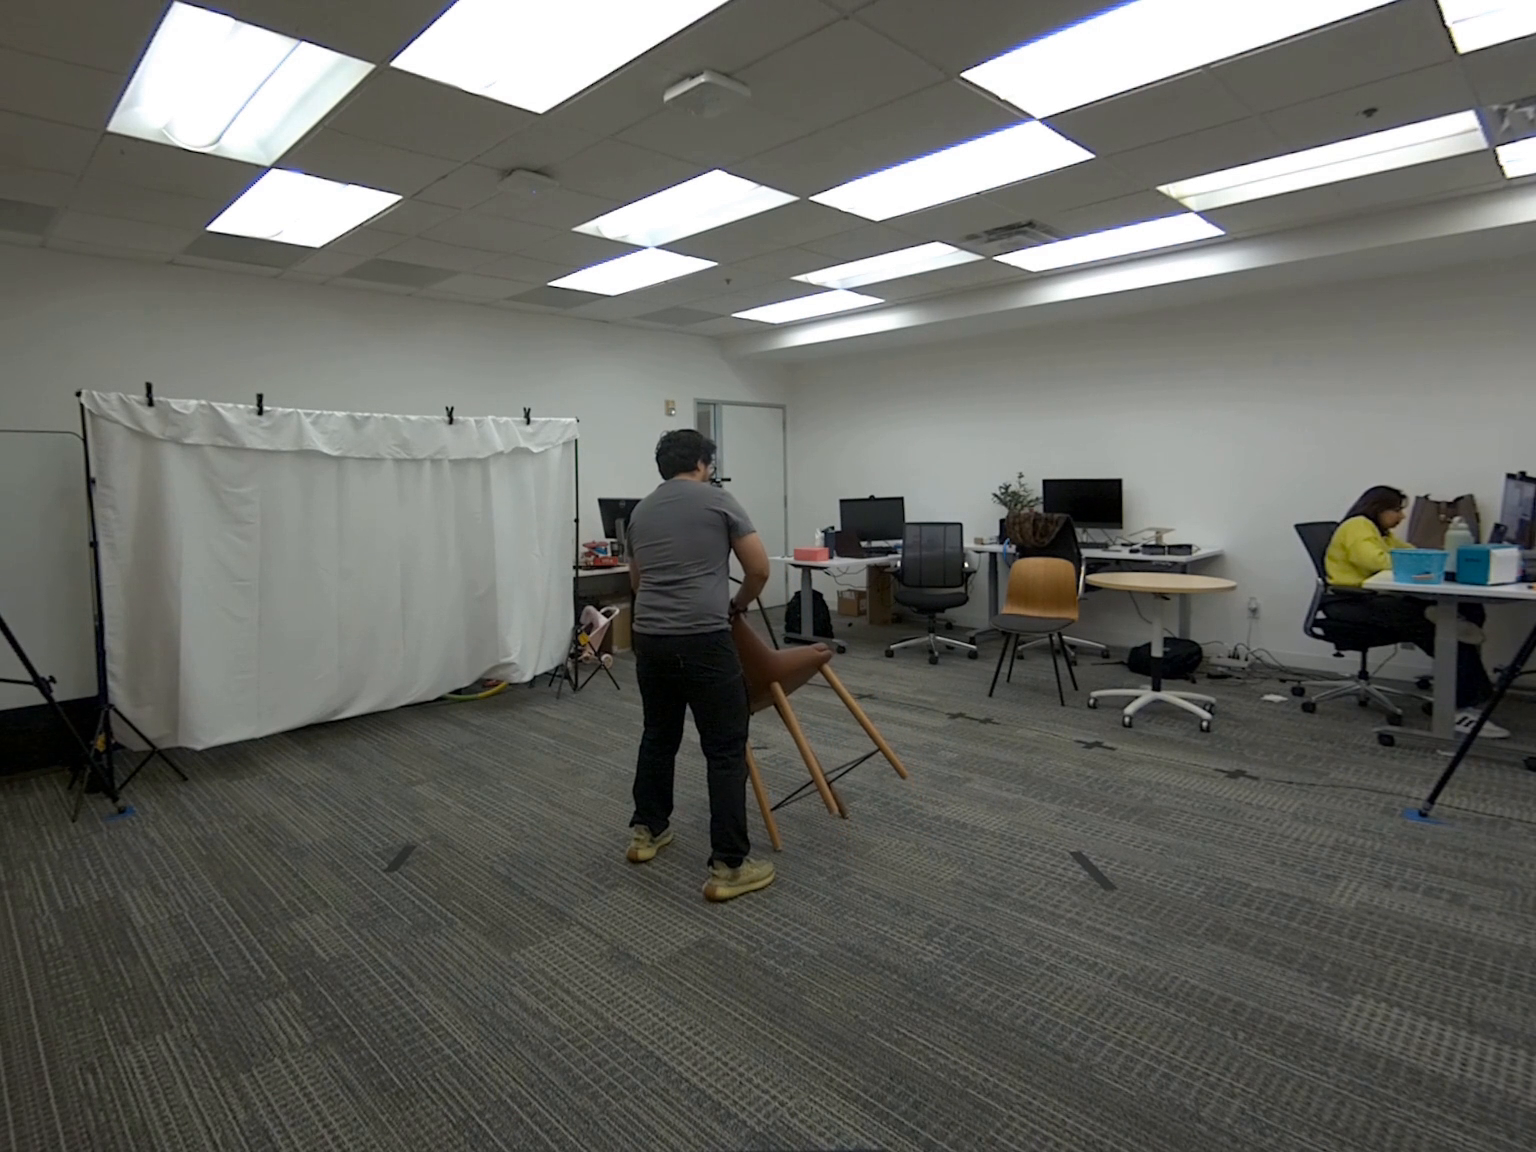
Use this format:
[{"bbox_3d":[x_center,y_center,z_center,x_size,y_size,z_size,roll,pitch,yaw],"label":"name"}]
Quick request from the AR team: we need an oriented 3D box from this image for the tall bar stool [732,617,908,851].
[{"bbox_3d":[0.074,0.549,3.411,0.456,0.912,0.456,-10,-28,-45],"label":"tall bar stool"}]
